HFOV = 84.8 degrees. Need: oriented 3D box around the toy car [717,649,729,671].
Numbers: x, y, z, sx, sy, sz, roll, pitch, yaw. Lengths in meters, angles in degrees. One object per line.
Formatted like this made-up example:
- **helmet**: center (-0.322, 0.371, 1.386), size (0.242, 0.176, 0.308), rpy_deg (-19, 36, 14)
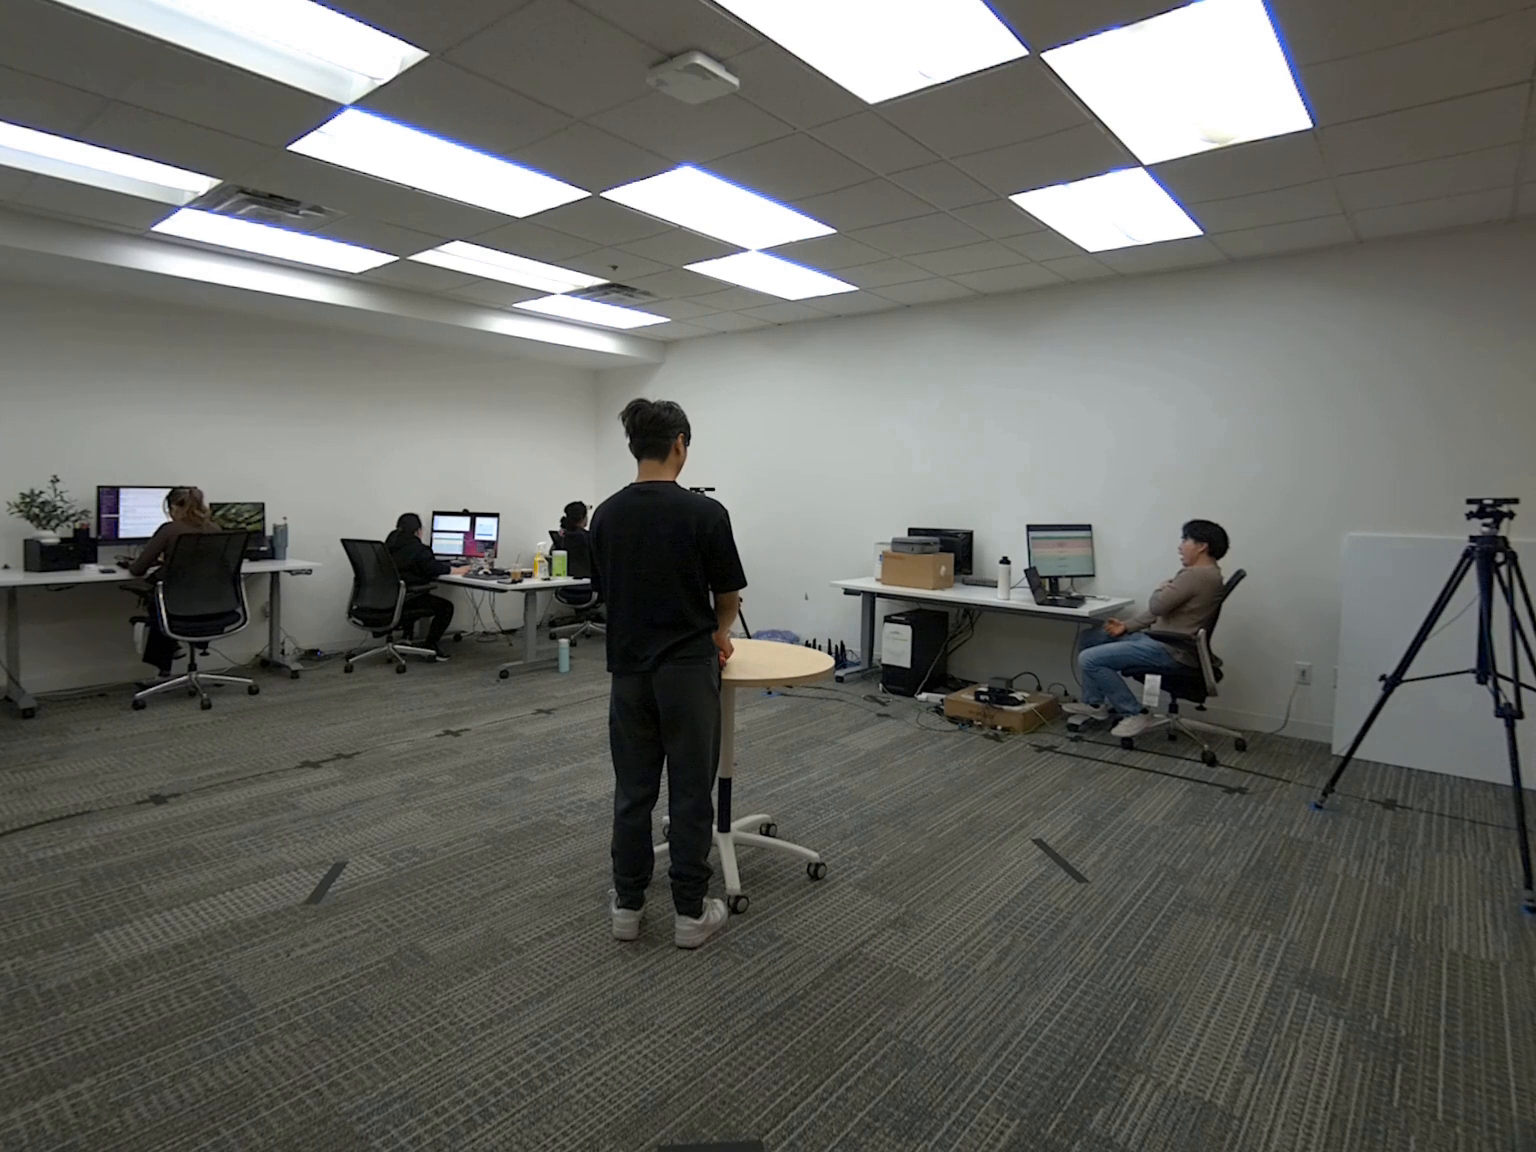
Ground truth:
- **toy car**: center (-0.198, 0.252, 2.923), size (0.130, 0.082, 0.258), rpy_deg (5, 16, -3)
